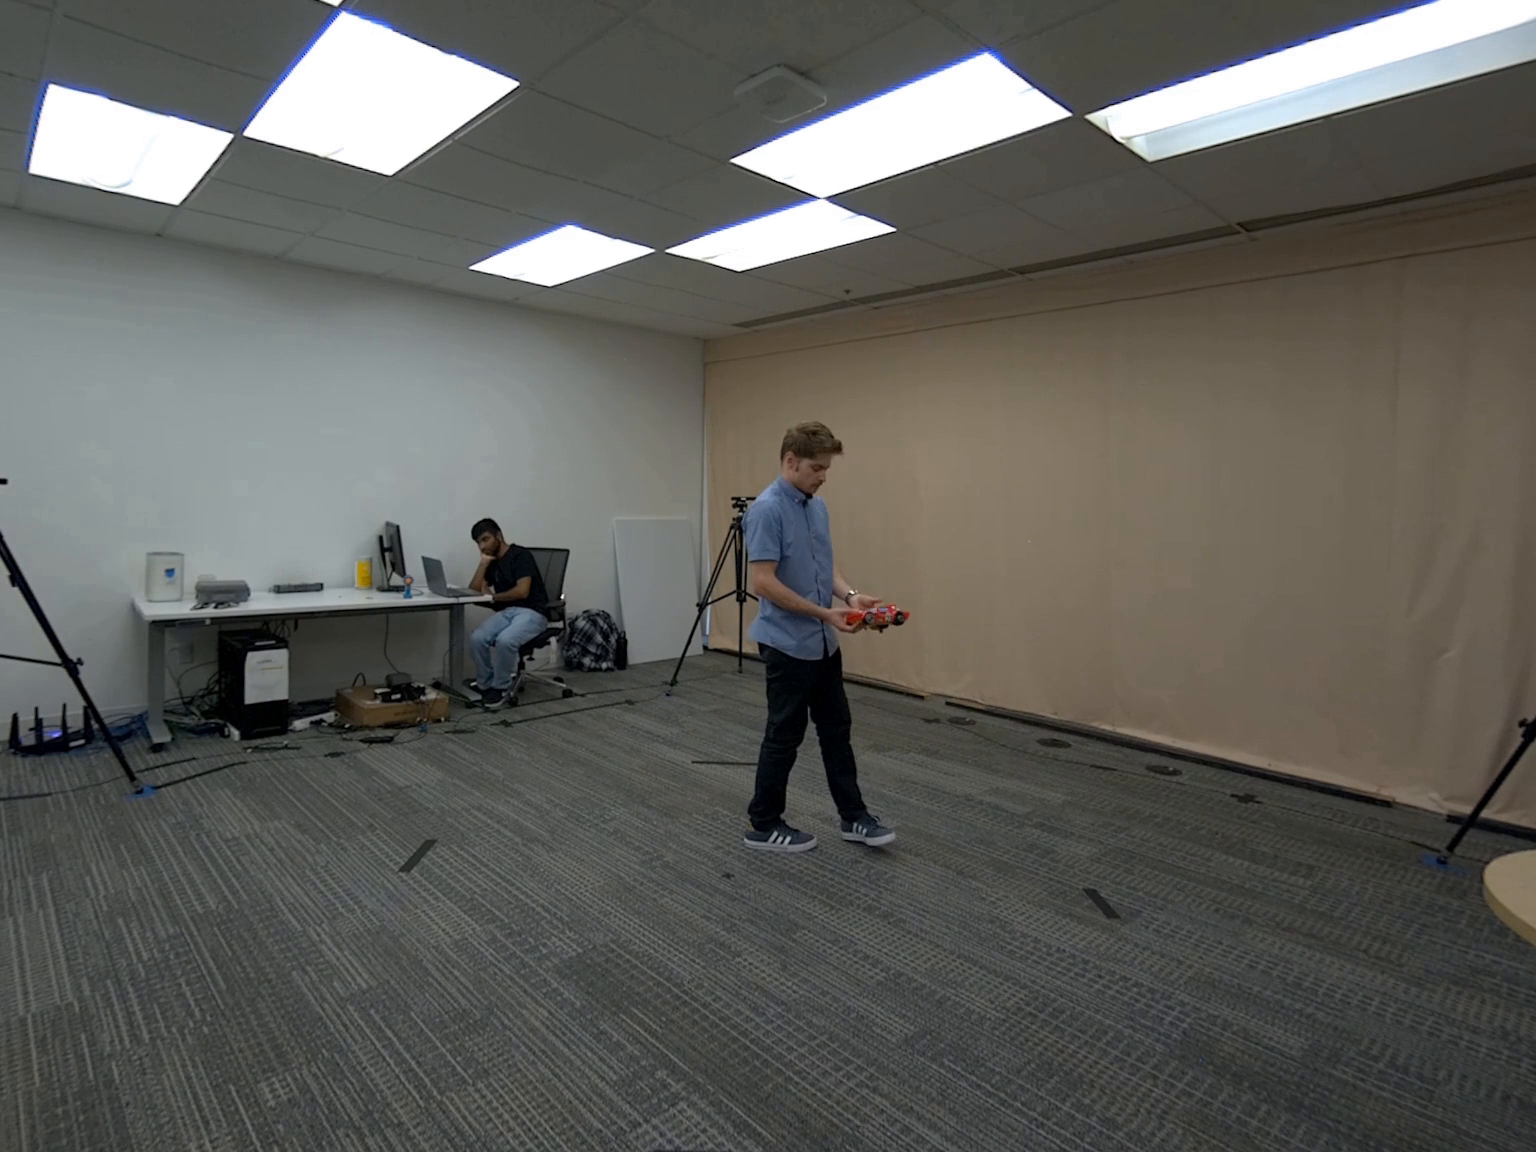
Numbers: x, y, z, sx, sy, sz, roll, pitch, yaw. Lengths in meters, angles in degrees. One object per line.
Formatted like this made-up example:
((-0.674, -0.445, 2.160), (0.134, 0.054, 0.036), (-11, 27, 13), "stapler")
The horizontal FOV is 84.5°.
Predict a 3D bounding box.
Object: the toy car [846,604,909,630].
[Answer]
((0.403, 0.155, 3.129), (0.250, 0.083, 0.132), (-10, -5, -35), "toy car")
